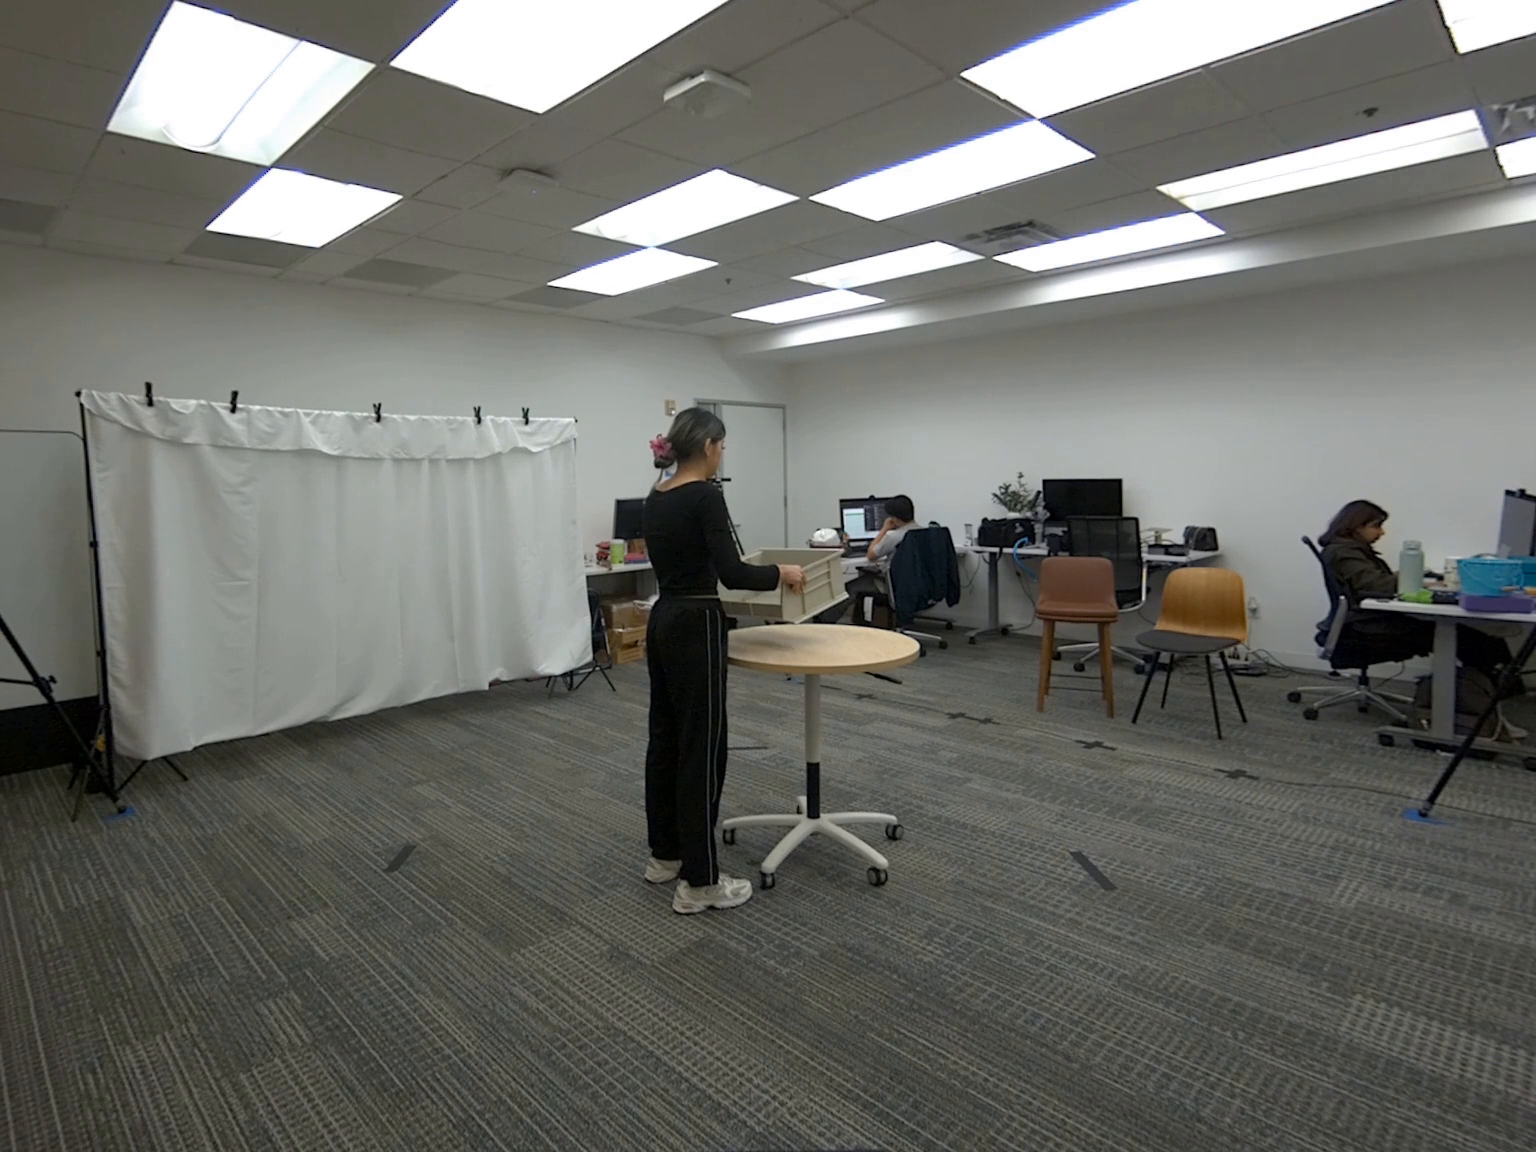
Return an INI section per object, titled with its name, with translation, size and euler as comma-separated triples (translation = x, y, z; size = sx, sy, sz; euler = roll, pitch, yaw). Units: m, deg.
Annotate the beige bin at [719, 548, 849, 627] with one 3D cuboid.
[beige bin]
translation = 0.019, 0.042, 3.172
size = 0.434, 0.187, 0.370
euler = 1, 16, 45
